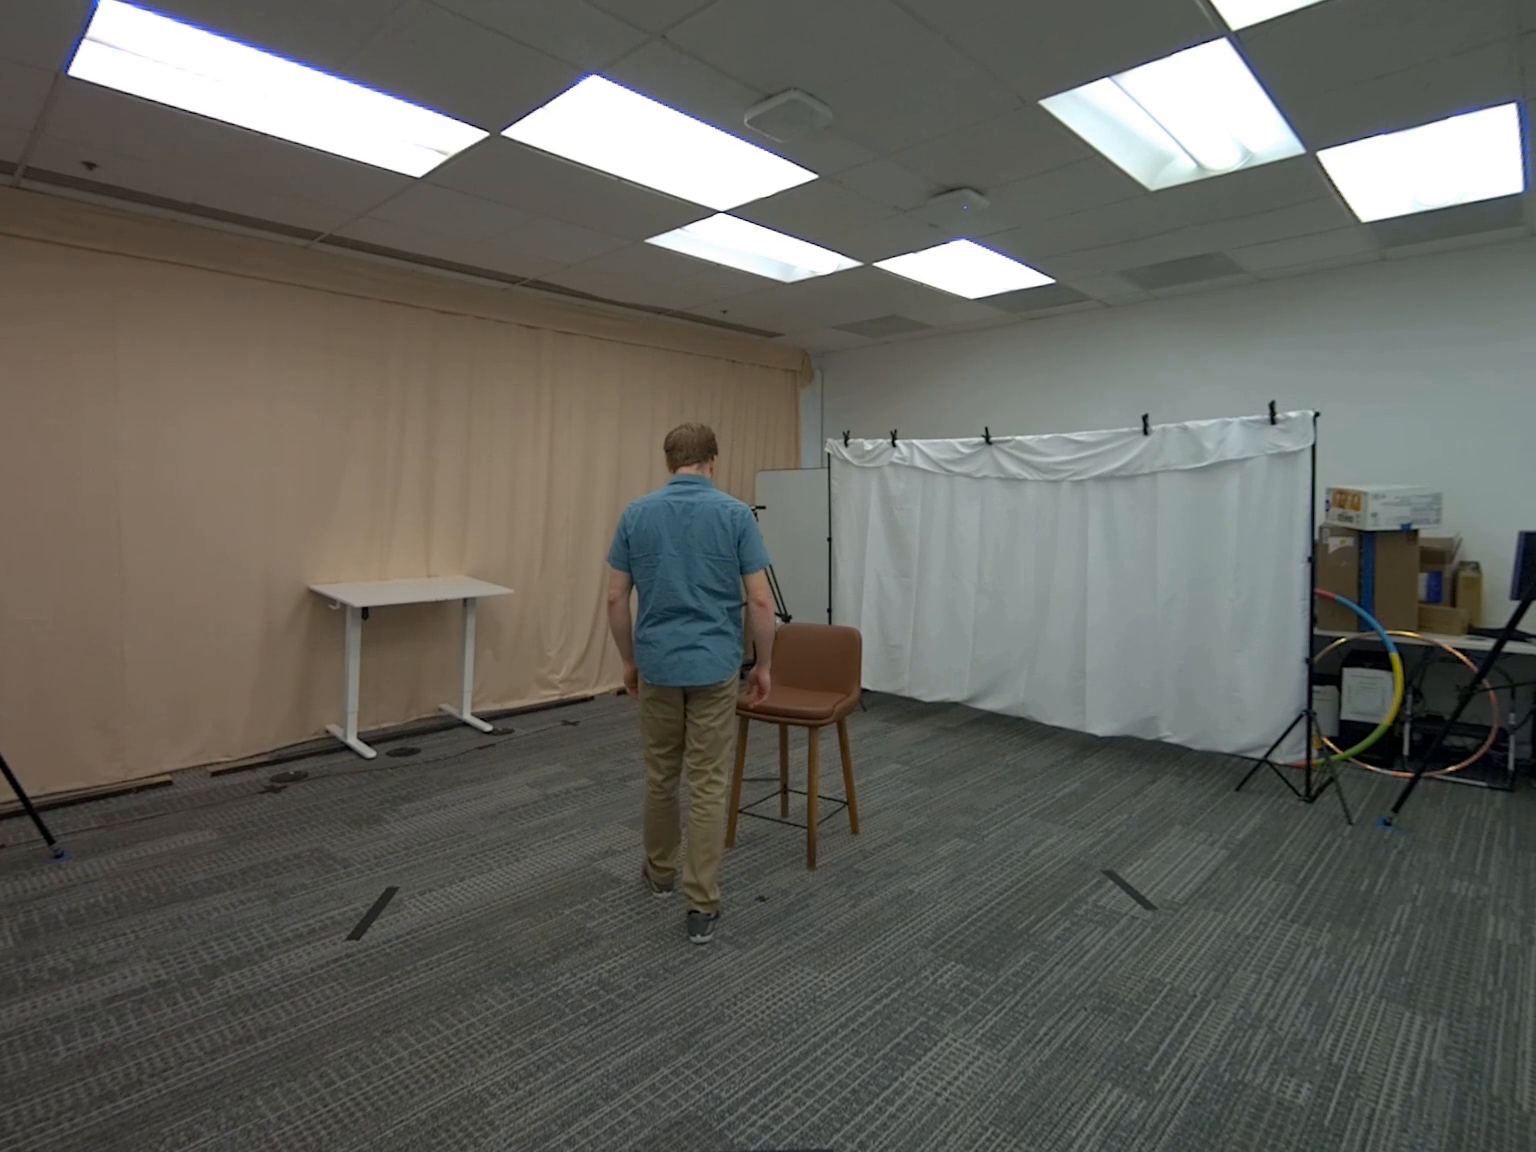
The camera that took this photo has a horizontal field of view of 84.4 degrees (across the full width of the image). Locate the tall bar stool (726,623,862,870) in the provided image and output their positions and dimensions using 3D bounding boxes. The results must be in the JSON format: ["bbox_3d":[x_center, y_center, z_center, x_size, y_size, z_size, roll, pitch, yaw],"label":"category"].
[{"bbox_3d":[0.126,0.666,3.489,0.470,0.889,0.454,2,1,33],"label":"tall bar stool"}]
